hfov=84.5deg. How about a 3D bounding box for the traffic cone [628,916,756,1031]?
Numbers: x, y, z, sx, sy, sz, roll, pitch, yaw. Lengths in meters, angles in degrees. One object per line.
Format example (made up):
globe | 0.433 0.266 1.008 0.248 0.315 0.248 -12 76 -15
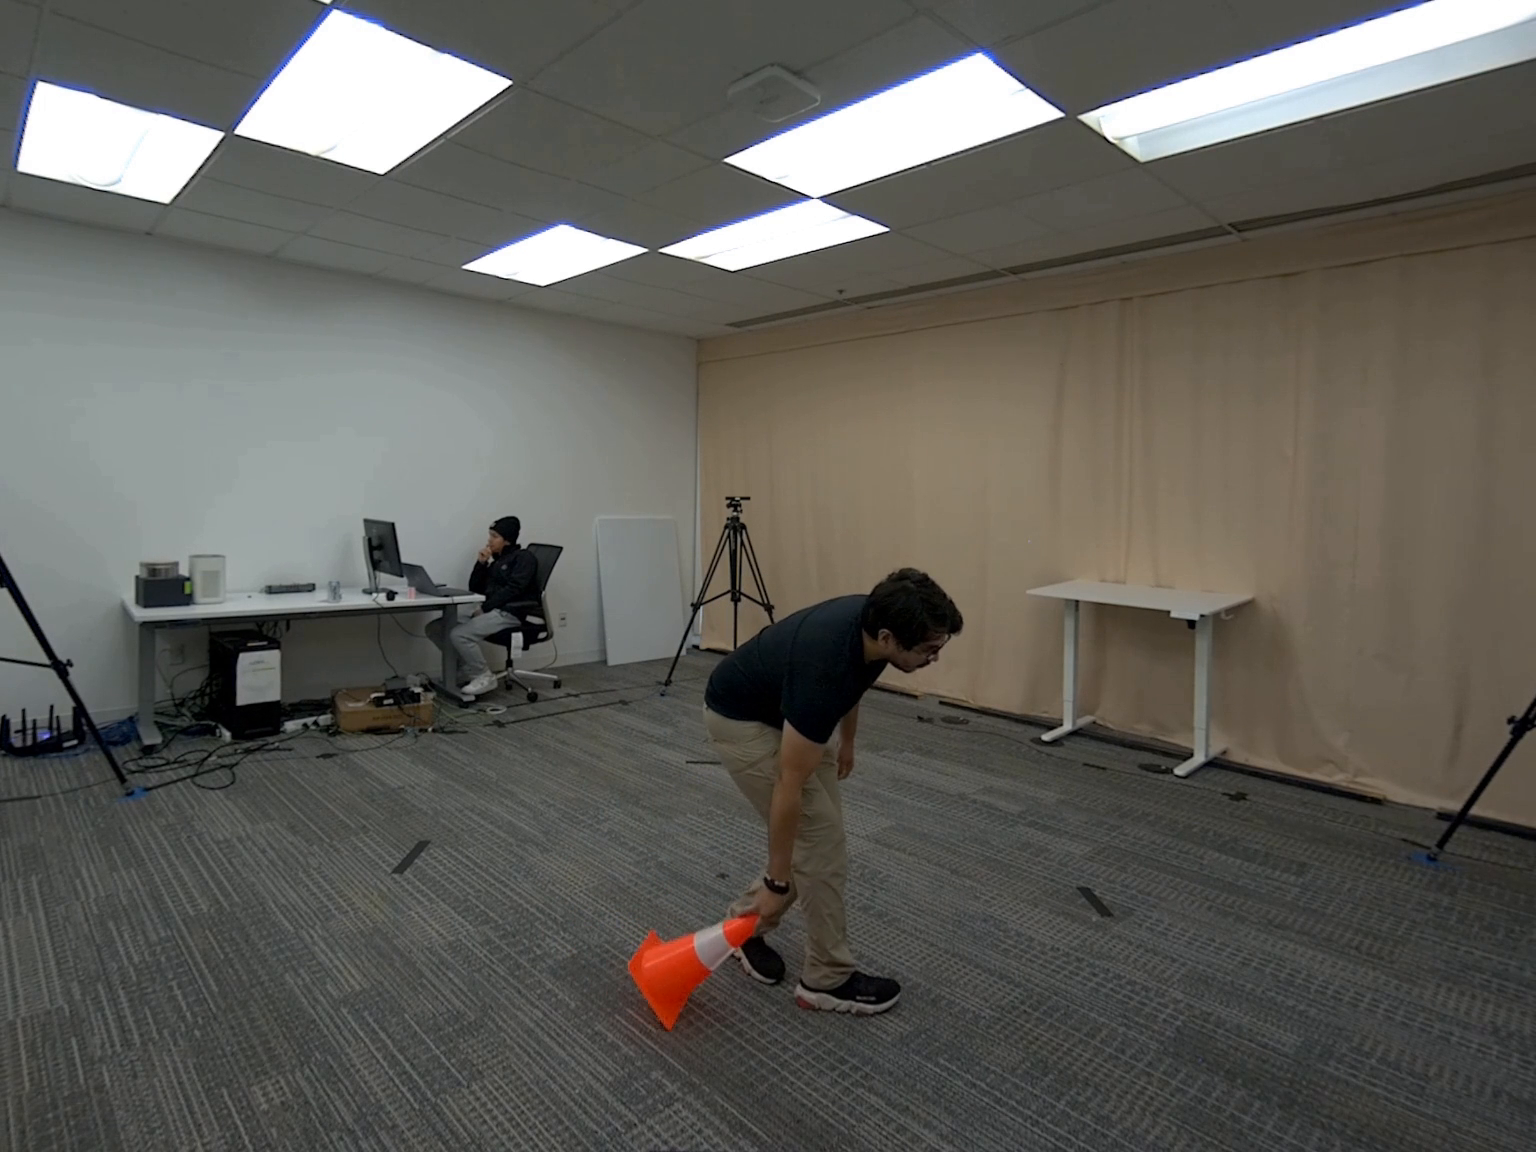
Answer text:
traffic cone | -0.150 0.989 2.237 0.385 0.207 0.201 -37 -8 16
